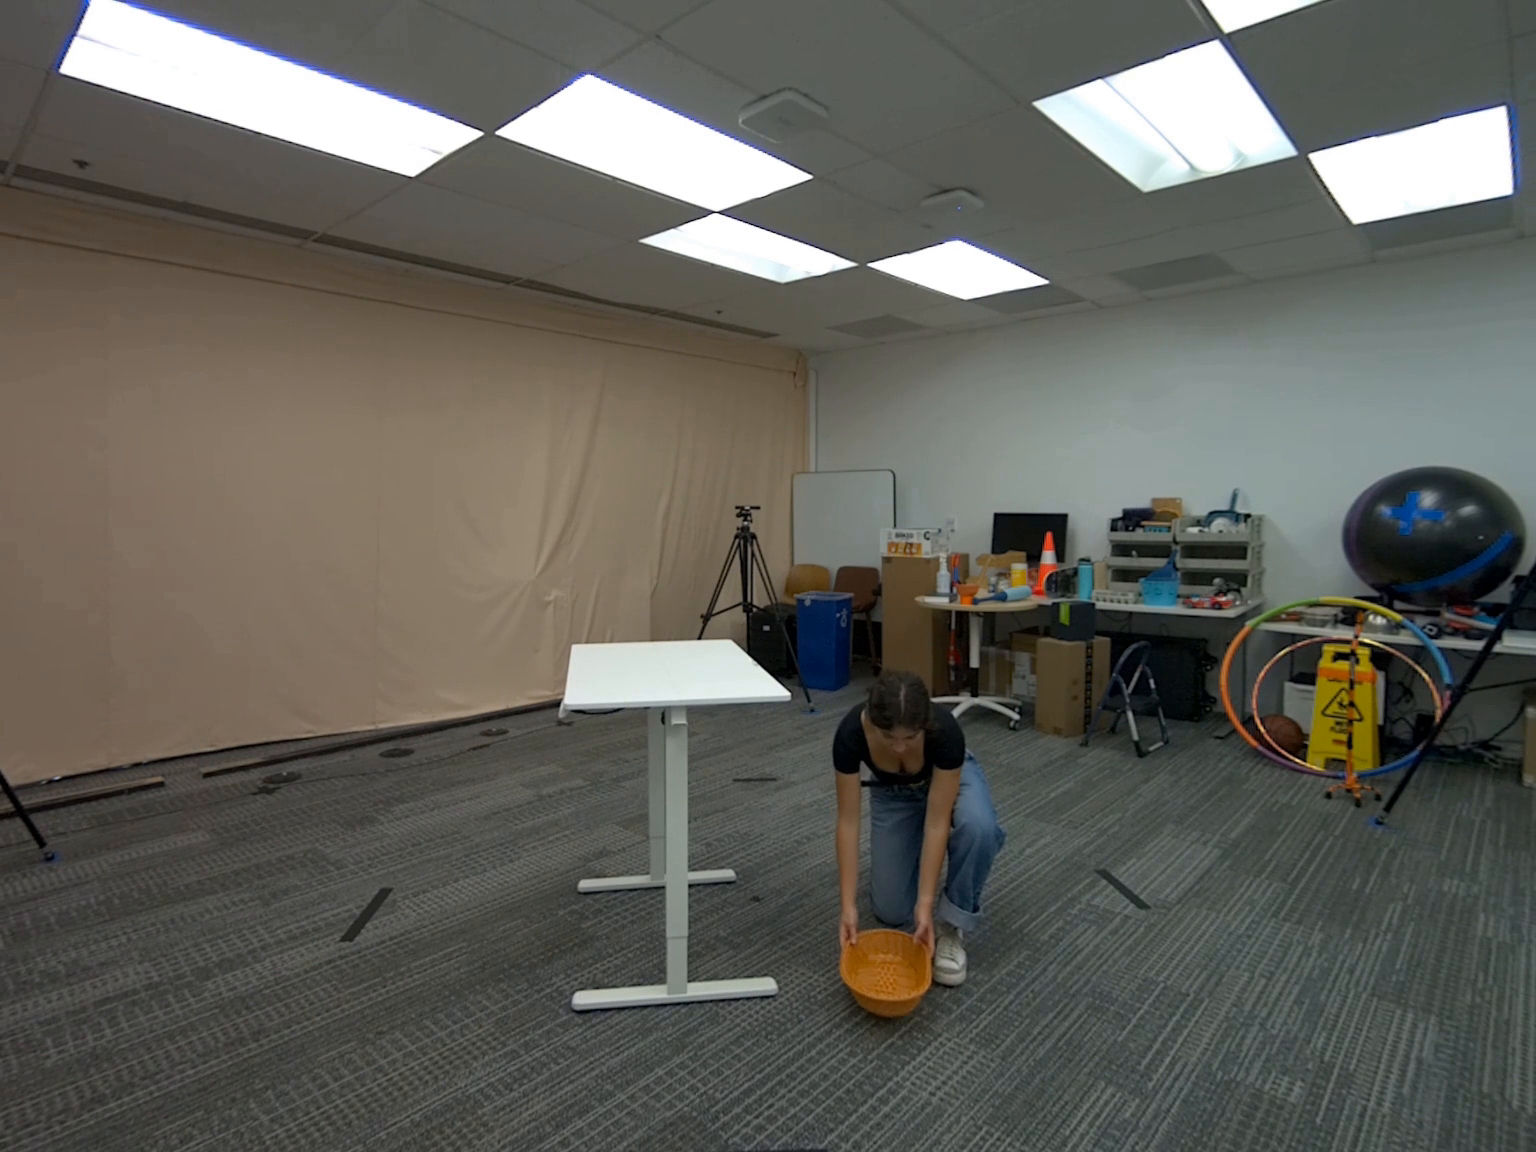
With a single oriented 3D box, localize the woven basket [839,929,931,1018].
[{"bbox_3d":[0.339,1.114,2.358,0.254,0.073,0.349,-1,7,6],"label":"woven basket"}]
